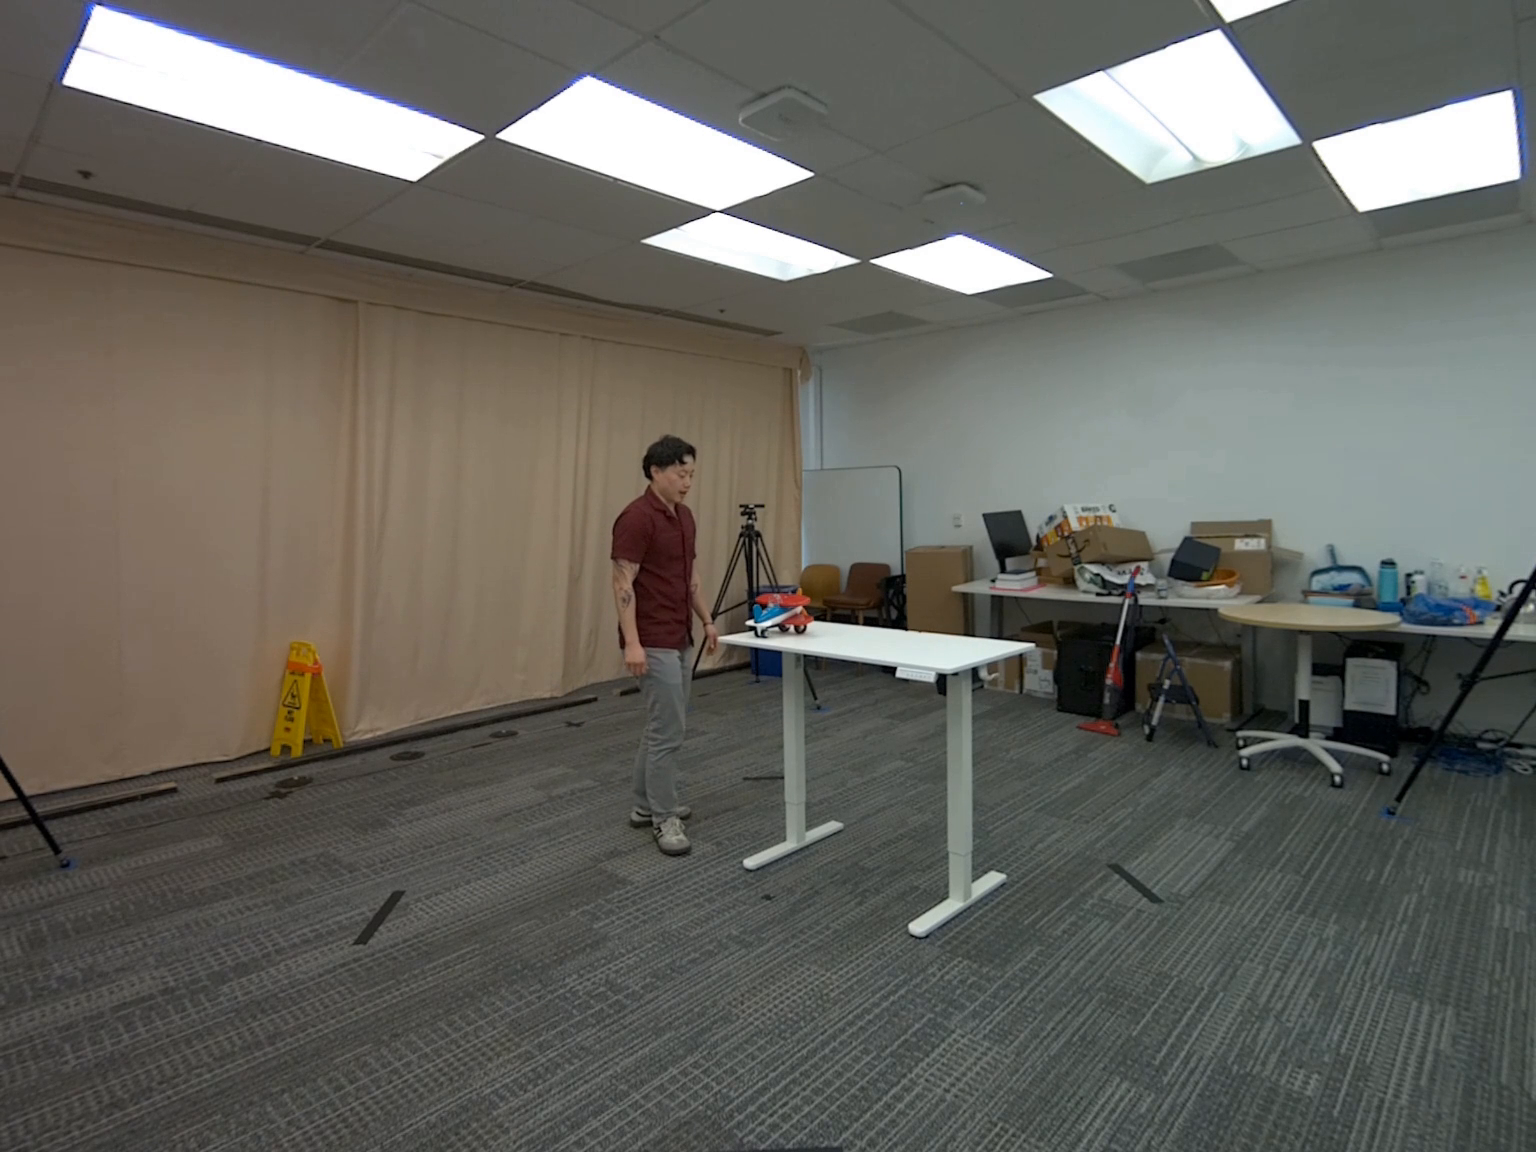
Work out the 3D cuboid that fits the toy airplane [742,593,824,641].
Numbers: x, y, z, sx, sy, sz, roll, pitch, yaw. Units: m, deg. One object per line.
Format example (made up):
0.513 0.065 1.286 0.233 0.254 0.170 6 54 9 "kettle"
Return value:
0.060 0.152 3.272 0.256 0.156 0.254 -1 2 17 "toy airplane"
